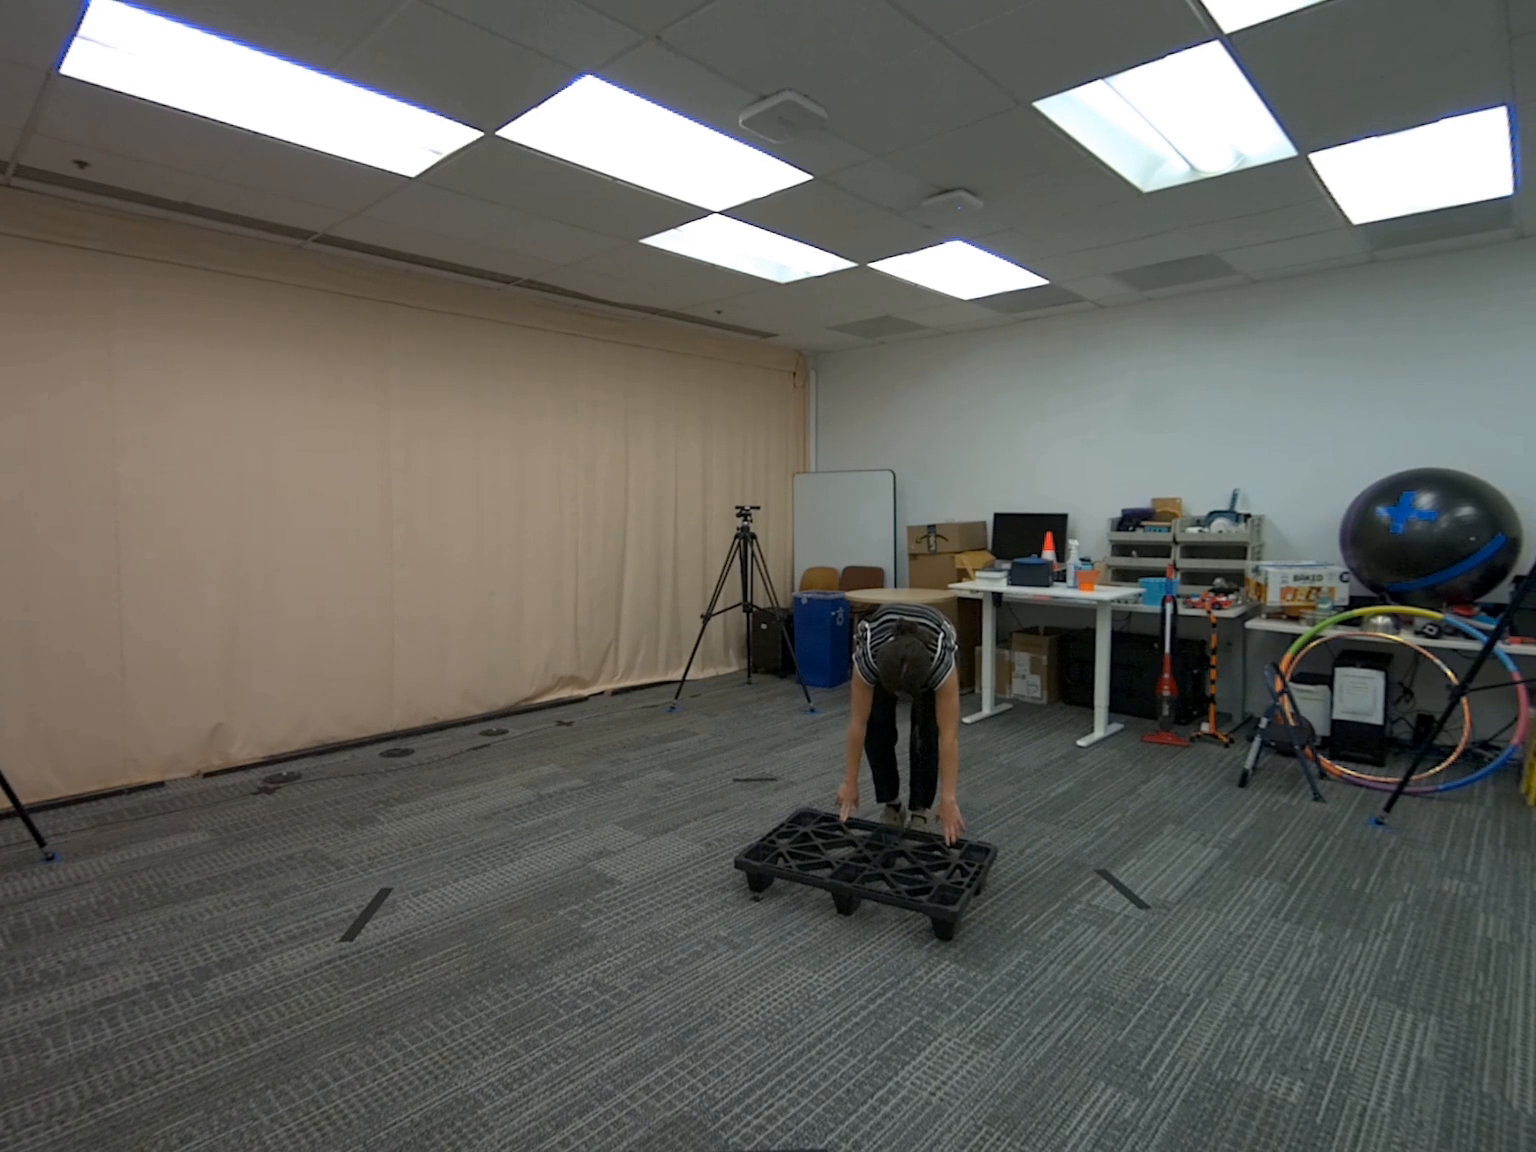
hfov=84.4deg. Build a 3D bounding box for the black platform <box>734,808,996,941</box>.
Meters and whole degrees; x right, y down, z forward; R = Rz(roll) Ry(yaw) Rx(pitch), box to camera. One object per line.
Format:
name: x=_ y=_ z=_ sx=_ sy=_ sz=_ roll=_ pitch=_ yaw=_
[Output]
black platform: x=0.363 y=1.069 z=3.057 sx=0.828 sy=0.143 sz=0.590 roll=2 pitch=6 yaw=29
